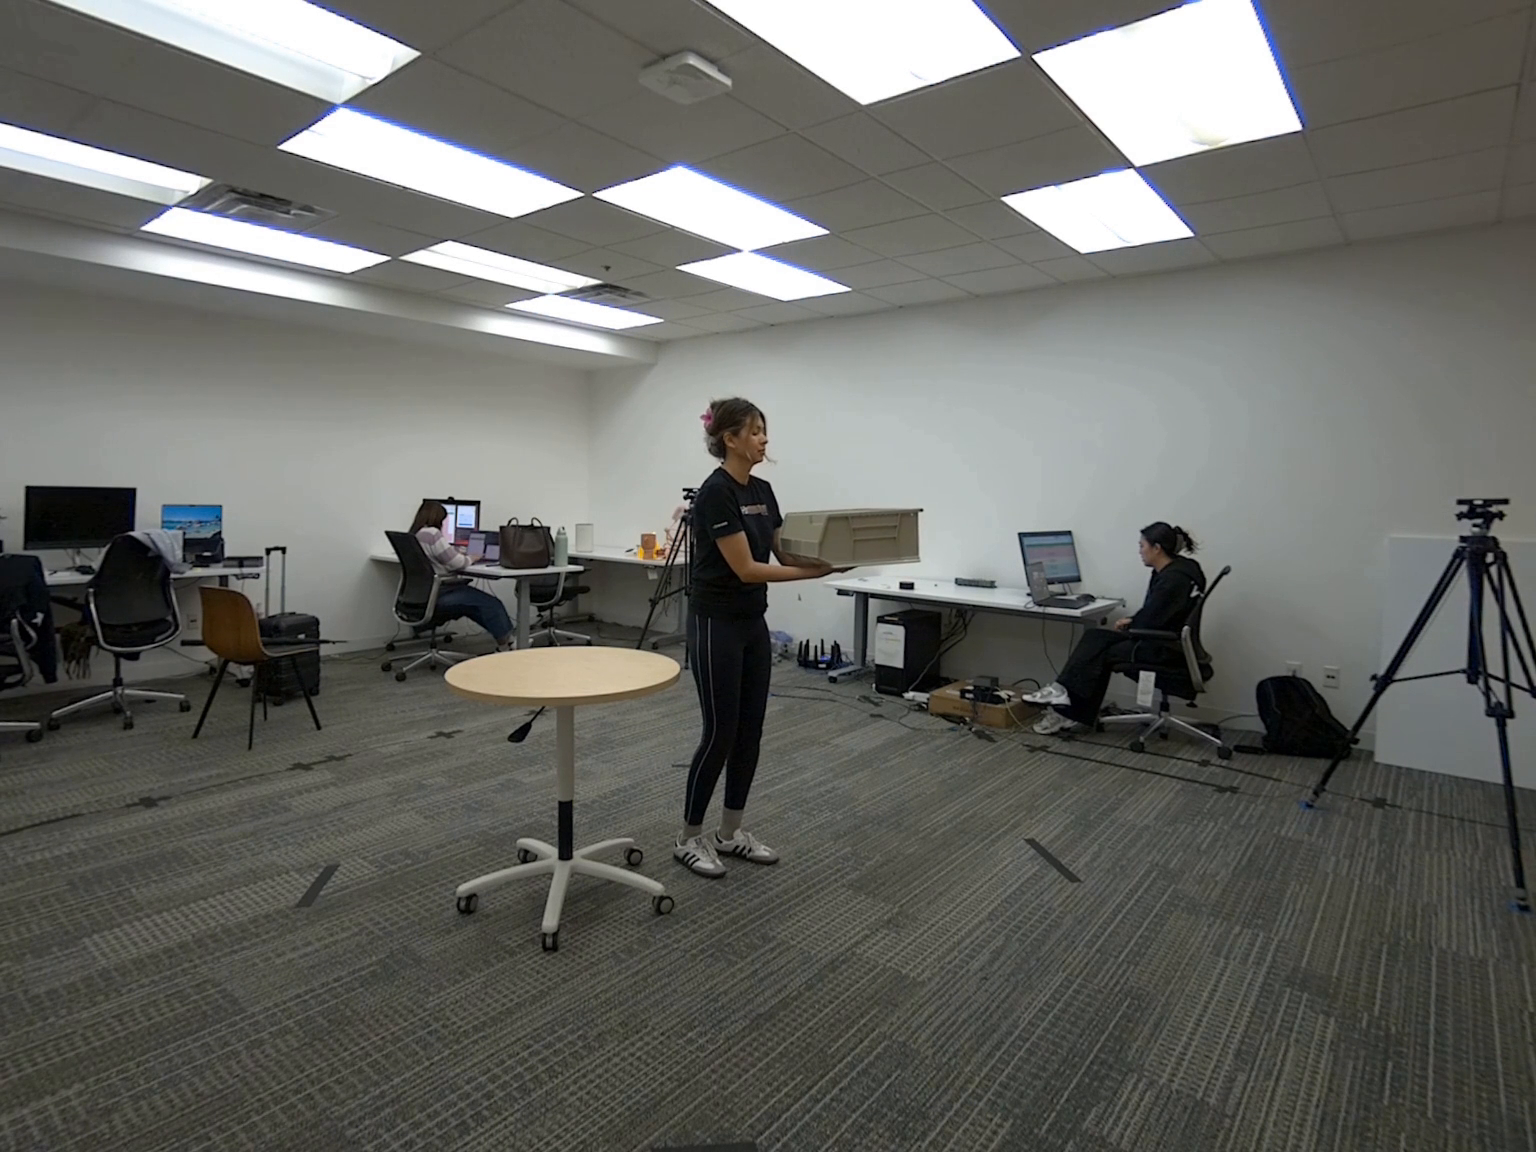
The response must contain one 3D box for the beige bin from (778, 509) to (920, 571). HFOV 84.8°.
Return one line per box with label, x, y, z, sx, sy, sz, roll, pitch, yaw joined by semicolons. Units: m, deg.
beige bin;0.261;-0.133;2.988;0.372;0.188;0.430;-4;5;-15
